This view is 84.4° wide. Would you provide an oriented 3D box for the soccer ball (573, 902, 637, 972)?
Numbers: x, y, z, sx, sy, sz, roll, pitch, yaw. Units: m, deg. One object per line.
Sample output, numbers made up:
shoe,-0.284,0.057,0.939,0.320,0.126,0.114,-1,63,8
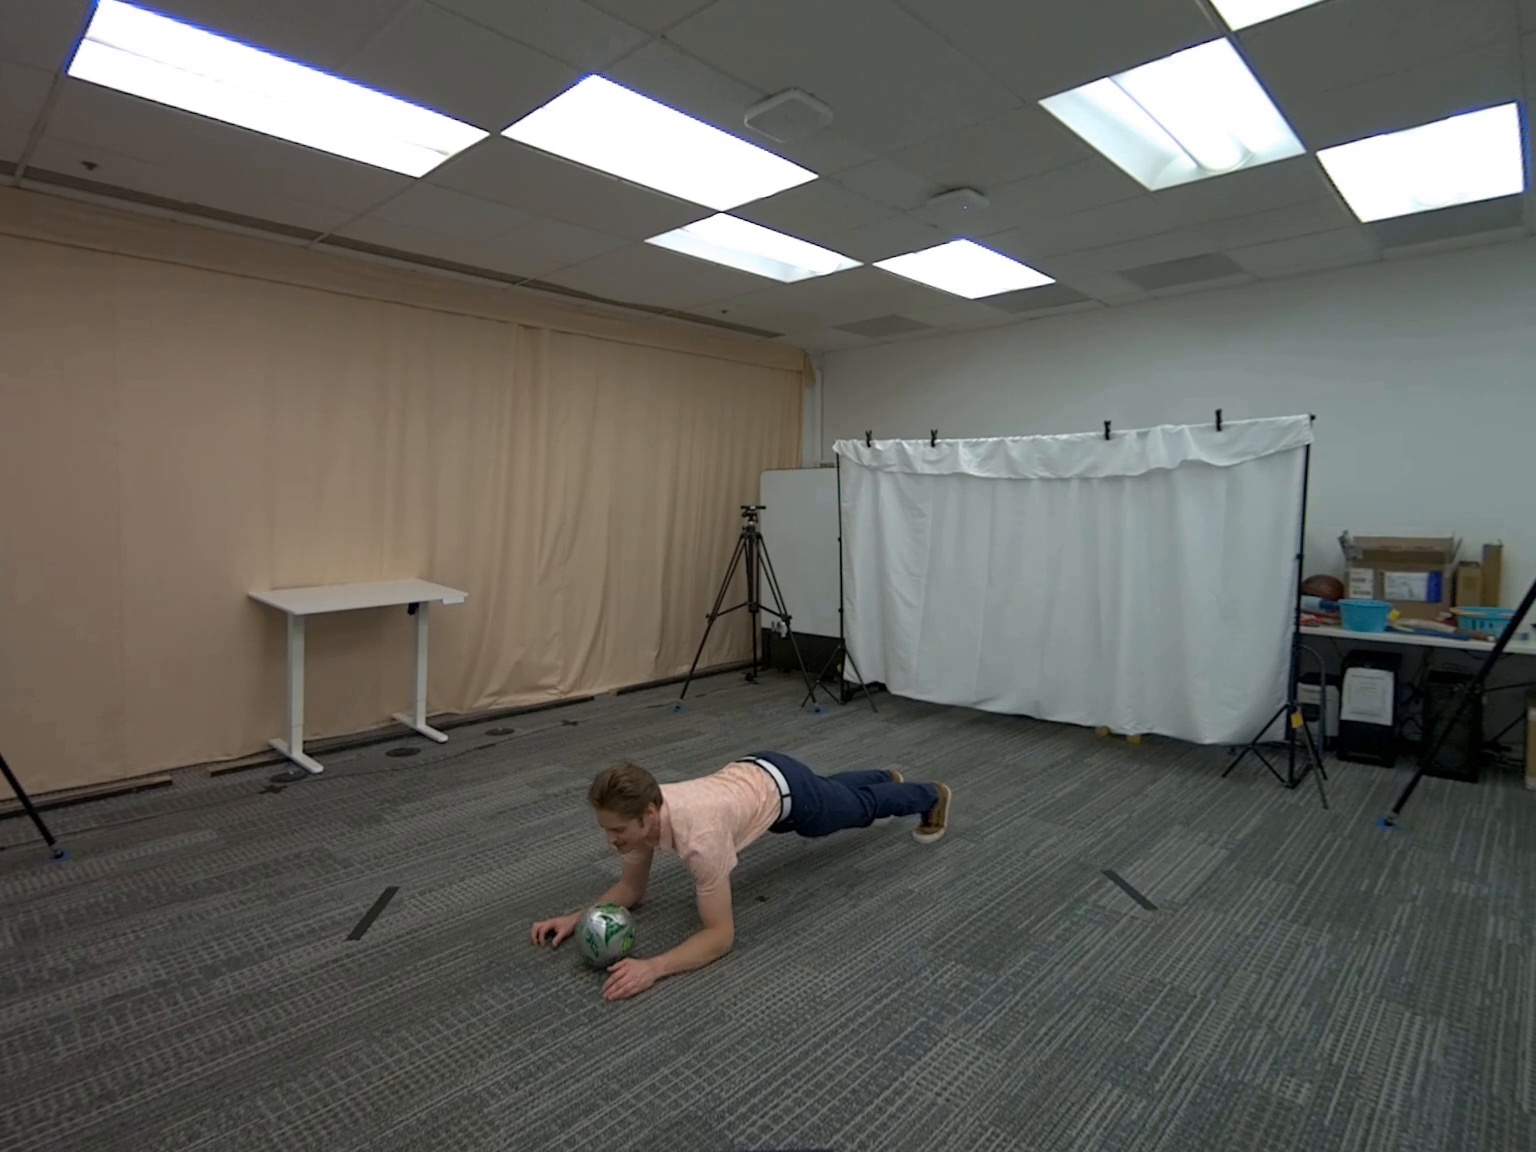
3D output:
soccer ball,-0.492,1.083,2.564,0.187,0.187,0.188,0,4,-2
